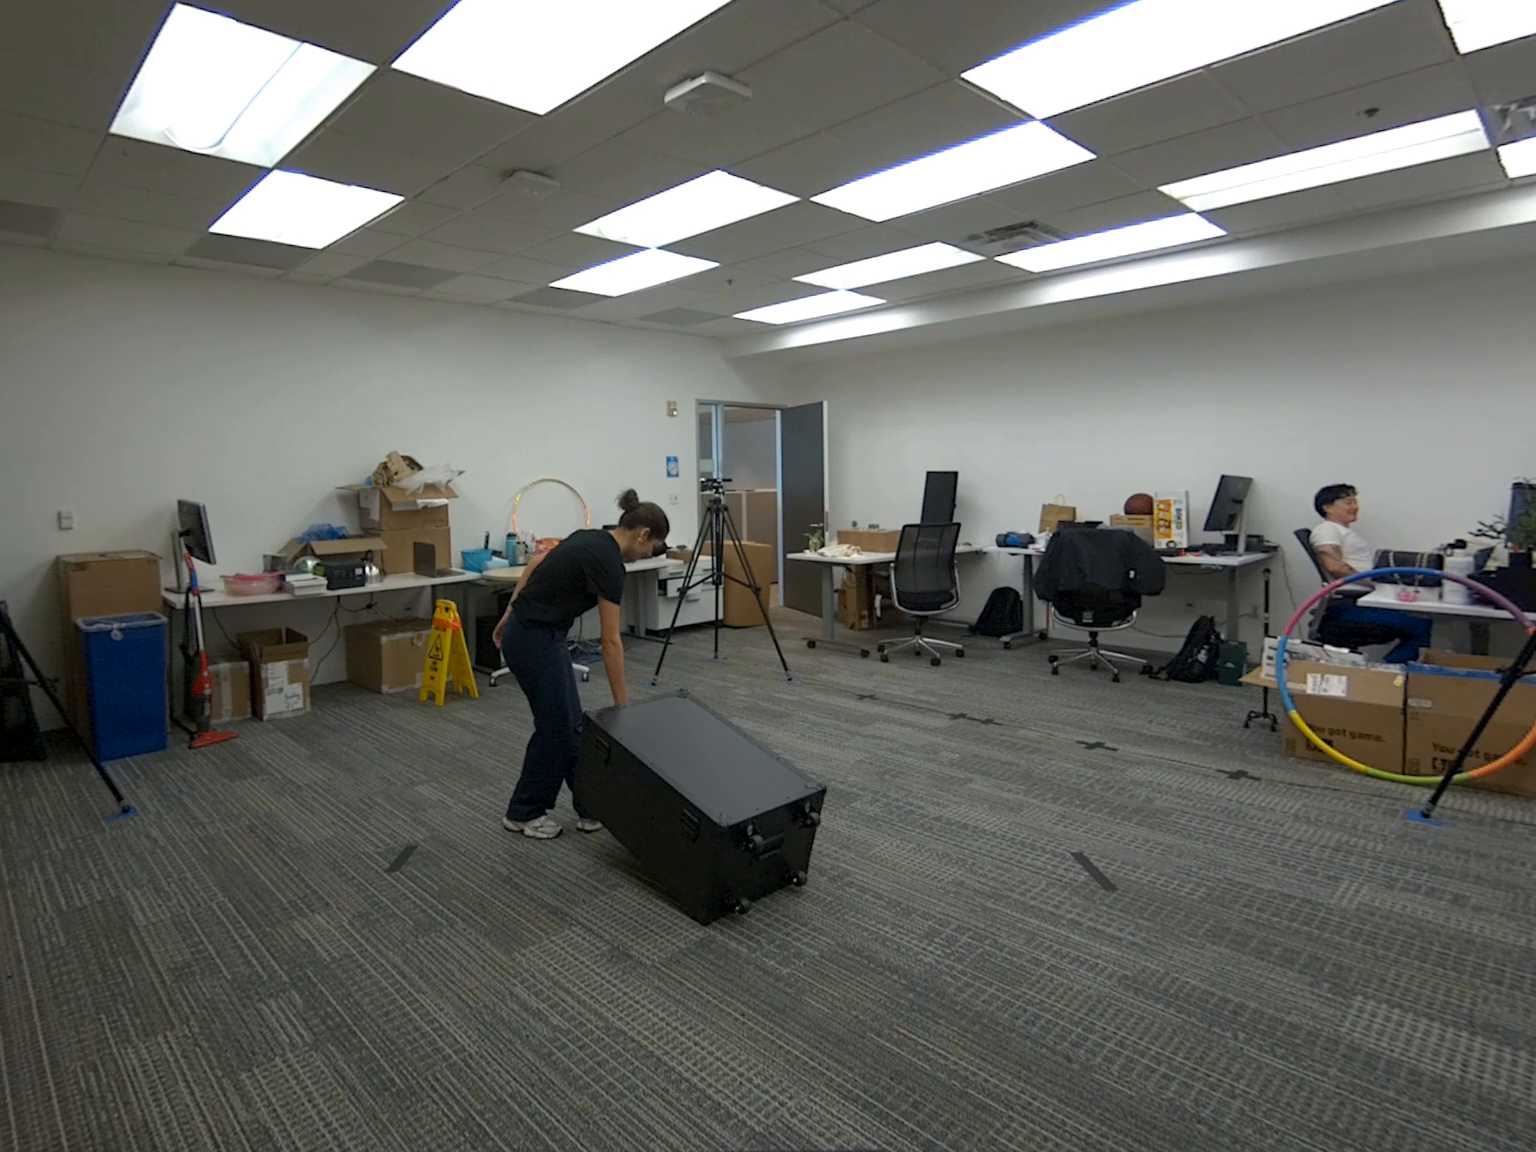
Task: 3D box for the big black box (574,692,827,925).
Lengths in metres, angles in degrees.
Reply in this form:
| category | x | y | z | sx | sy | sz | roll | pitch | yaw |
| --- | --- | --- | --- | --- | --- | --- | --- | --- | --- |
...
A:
| category | x | y | z | sx | sy | sz | roll | pitch | yaw |
| --- | --- | --- | --- | --- | --- | --- | --- | --- | --- |
| big black box | -0.251 | 0.796 | 3.040 | 0.507 | 0.392 | 0.894 | -6 | 22 | -43 |
